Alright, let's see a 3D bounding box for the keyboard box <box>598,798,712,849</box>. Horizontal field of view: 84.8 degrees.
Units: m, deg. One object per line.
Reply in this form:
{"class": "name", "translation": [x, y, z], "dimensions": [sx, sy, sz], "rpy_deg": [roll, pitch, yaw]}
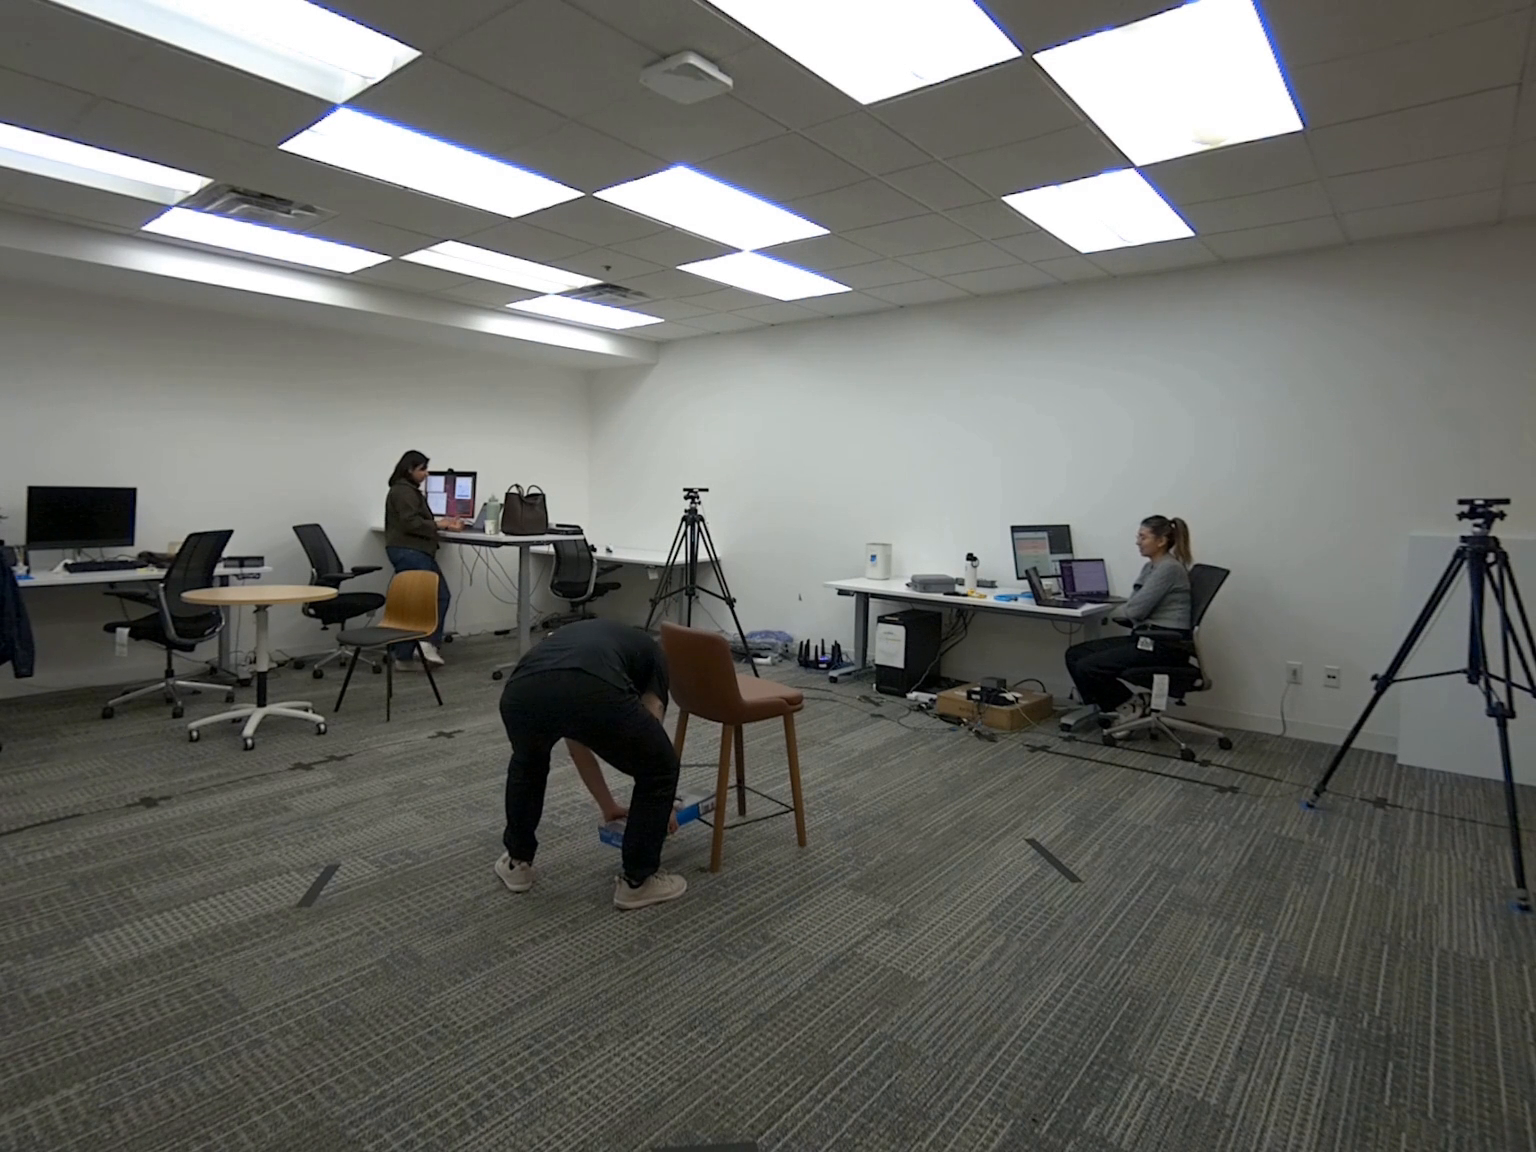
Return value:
{"class": "keyboard box", "translation": [-0.406, 0.897, 3.149], "dimensions": [0.426, 0.059, 0.181], "rpy_deg": [-16, 8, -41]}
